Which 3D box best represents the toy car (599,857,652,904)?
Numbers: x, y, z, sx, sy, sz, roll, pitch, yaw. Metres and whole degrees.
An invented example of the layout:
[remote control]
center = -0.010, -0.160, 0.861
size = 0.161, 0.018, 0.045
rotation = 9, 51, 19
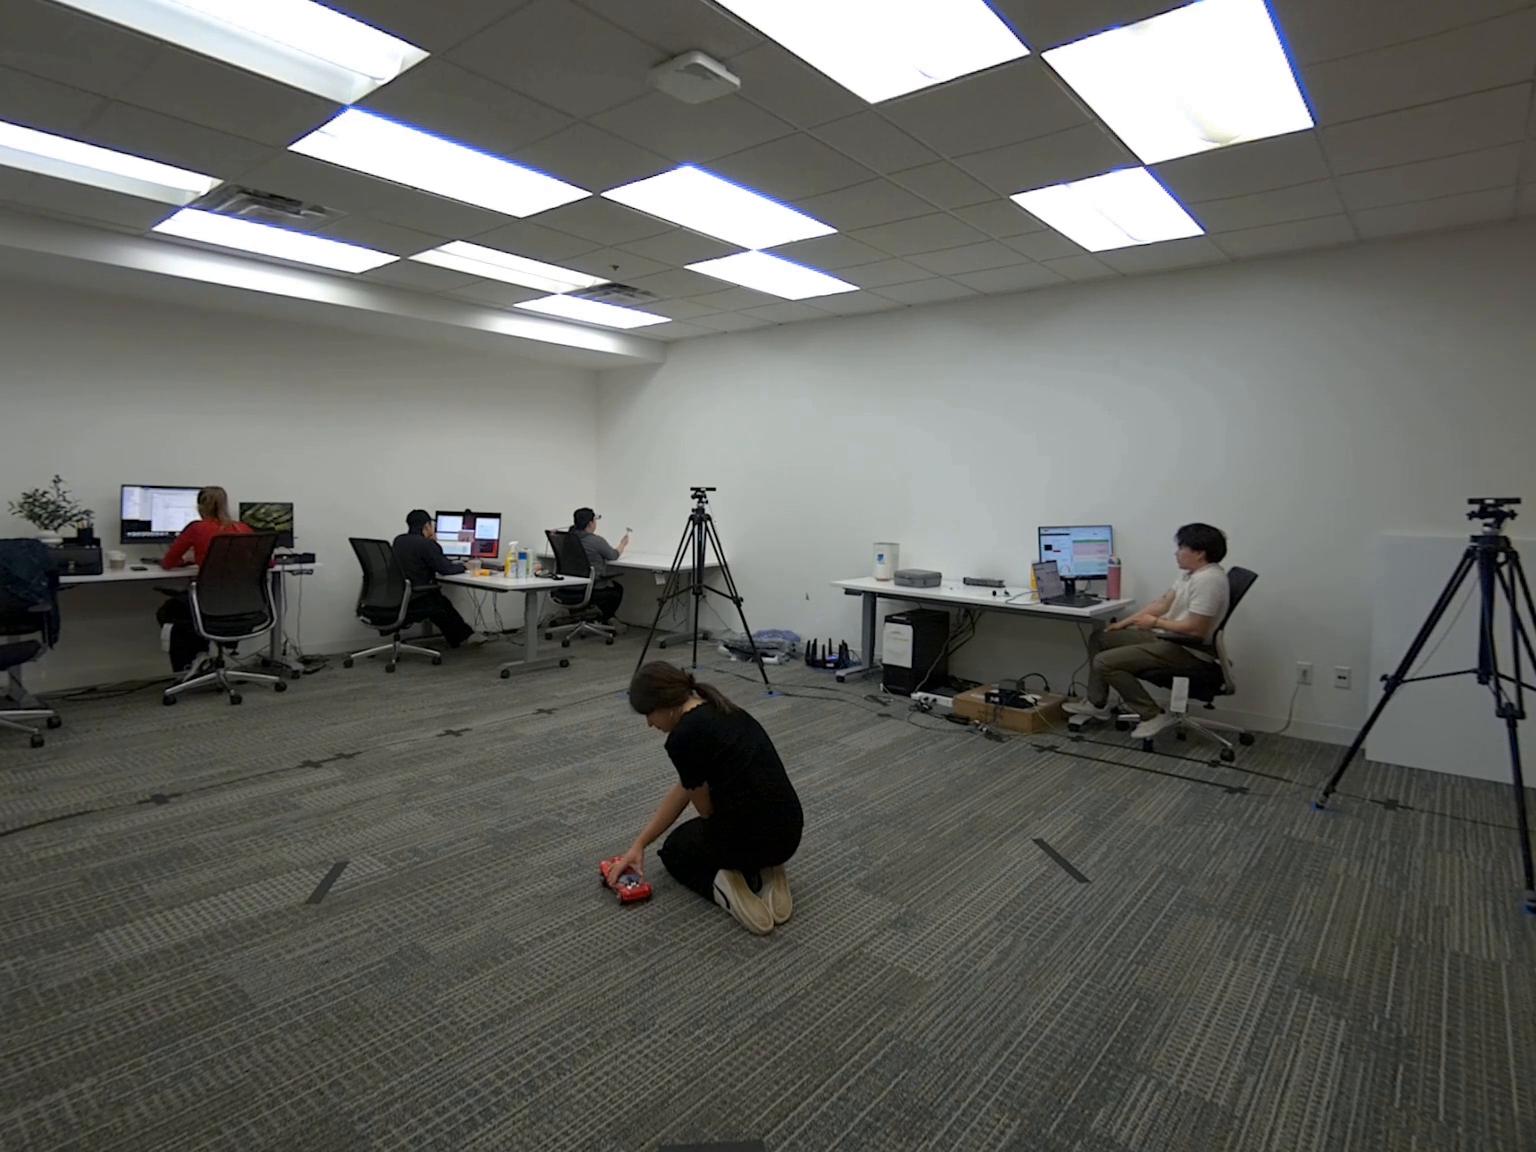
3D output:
[toy car]
center = -0.510, 1.044, 2.940
size = 0.127, 0.082, 0.264
rotation = -2, 17, -31
